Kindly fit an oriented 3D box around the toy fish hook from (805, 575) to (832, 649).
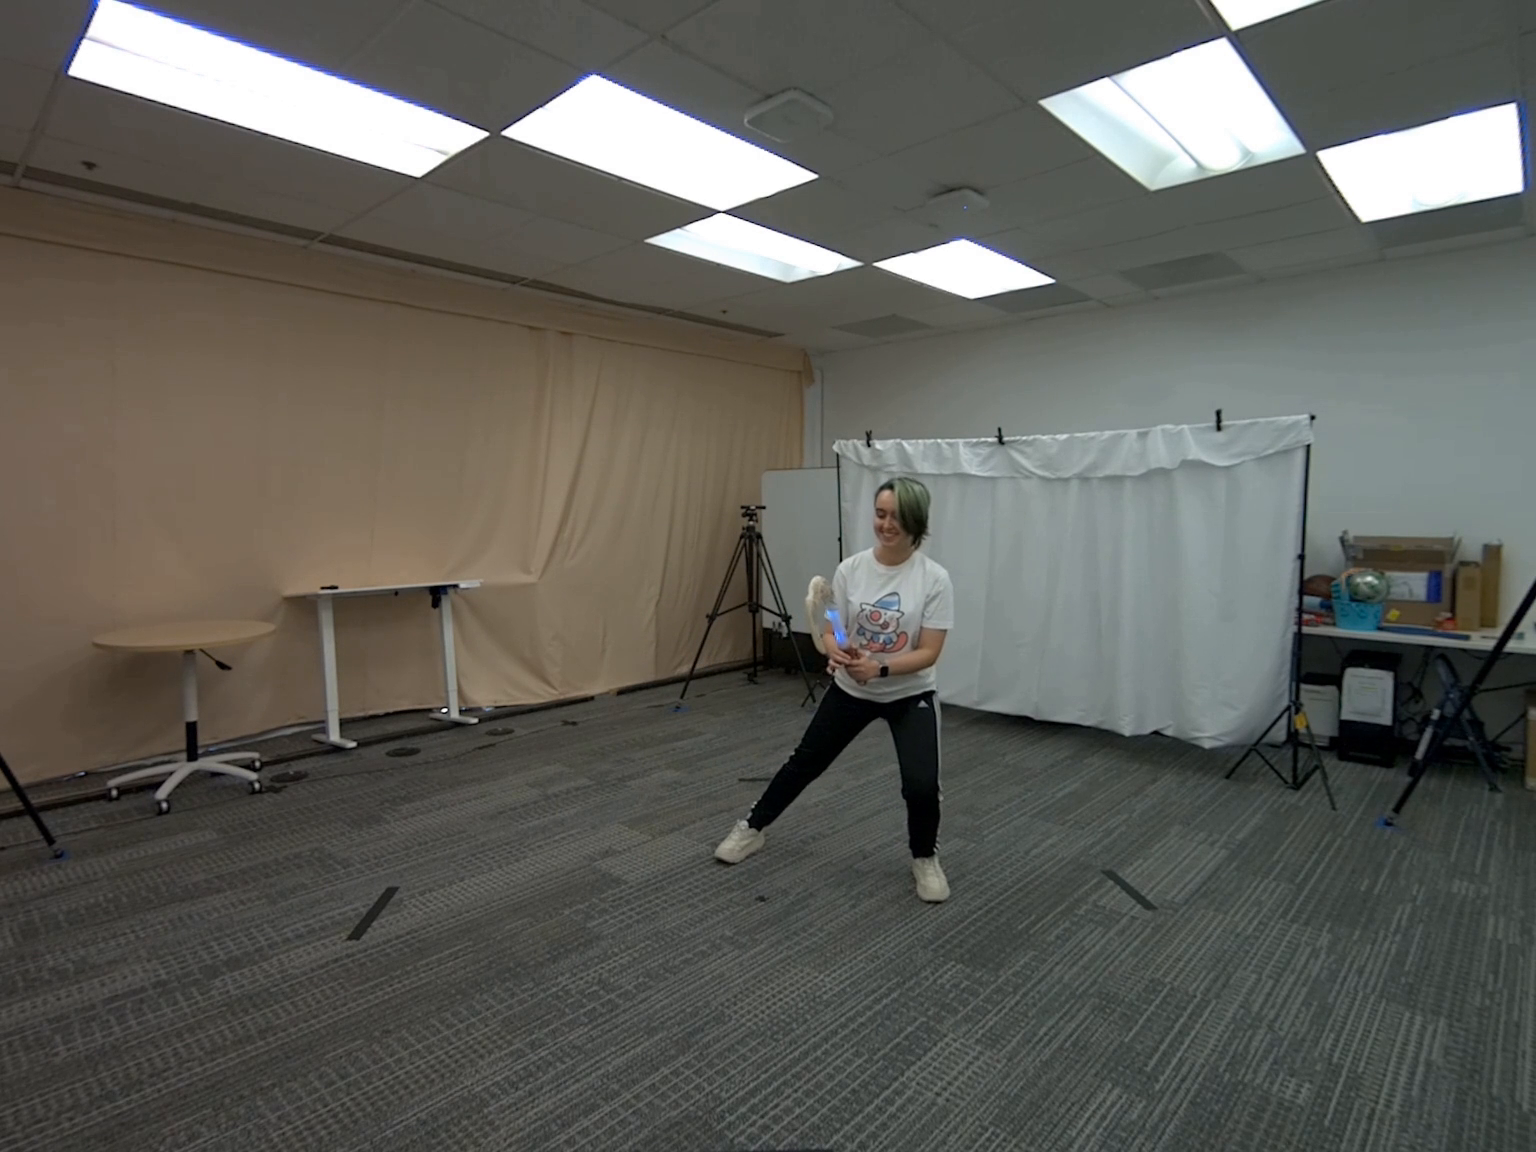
[{"bbox_3d":[0.224,0.219,2.697,0.049,0.492,0.225,-6,41,30],"label":"toy fish hook"}]
